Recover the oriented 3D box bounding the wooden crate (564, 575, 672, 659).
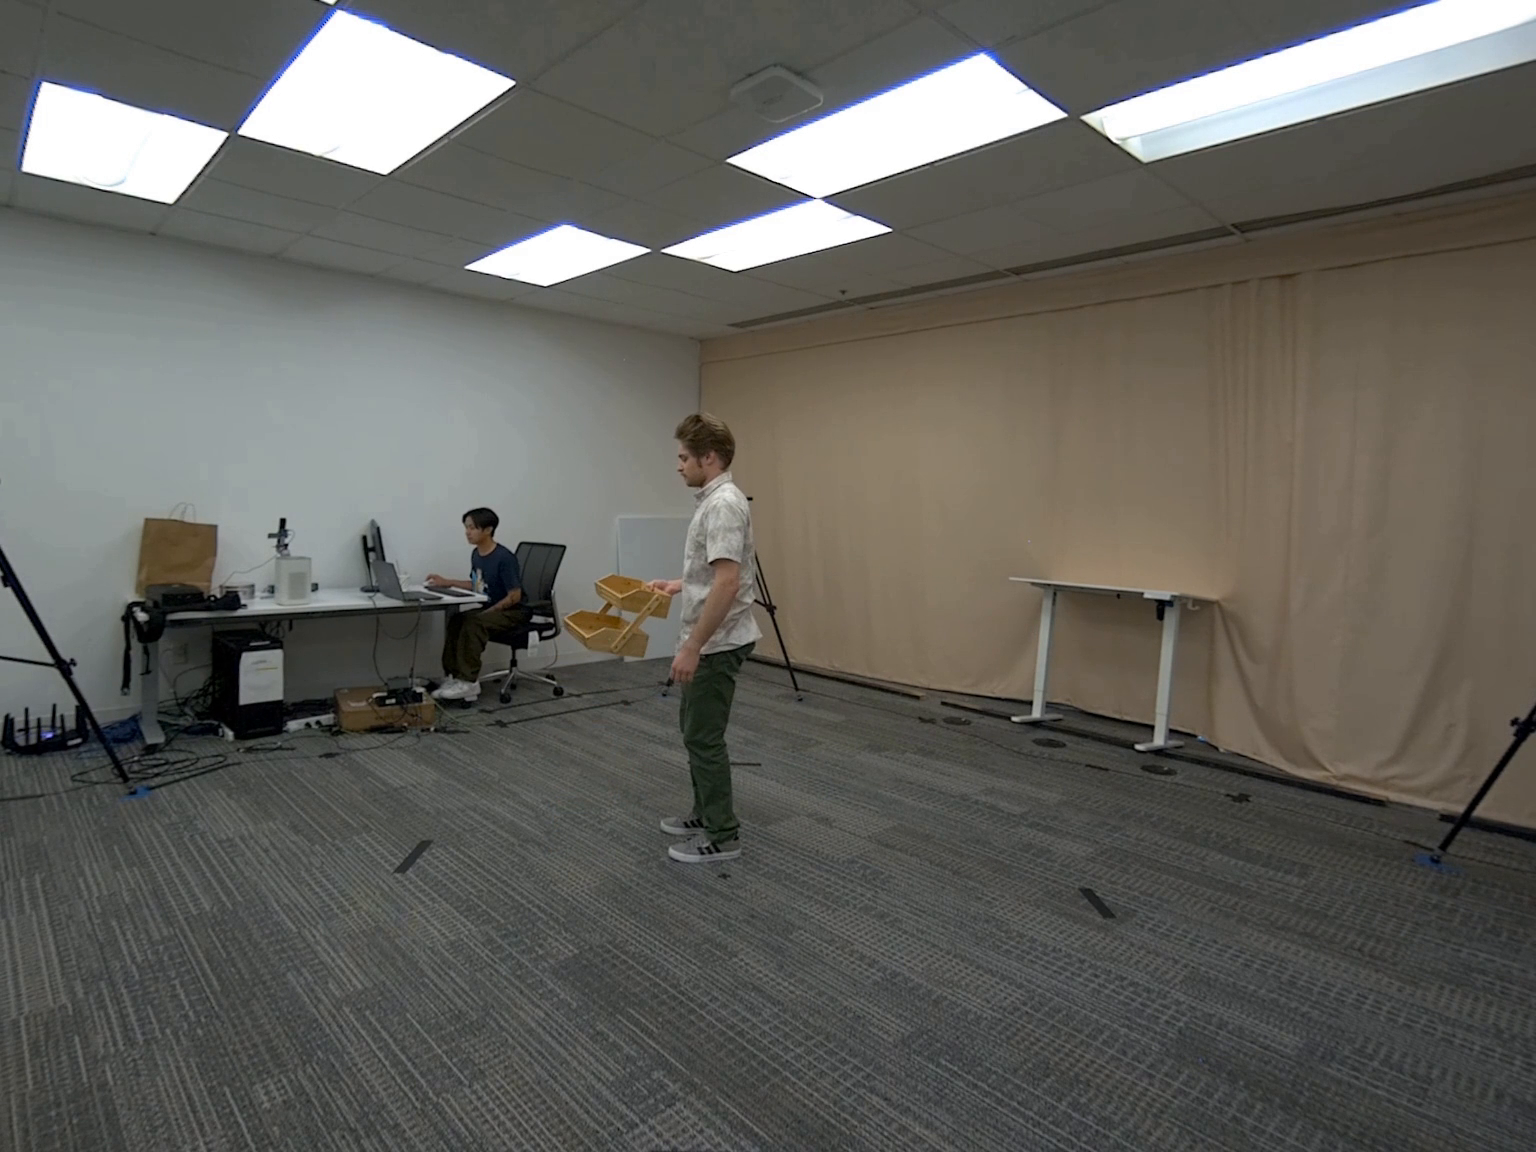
[{"bbox_3d":[-0.610,0.145,3.341,0.295,0.273,0.333,14,4,-30],"label":"wooden crate"}]
